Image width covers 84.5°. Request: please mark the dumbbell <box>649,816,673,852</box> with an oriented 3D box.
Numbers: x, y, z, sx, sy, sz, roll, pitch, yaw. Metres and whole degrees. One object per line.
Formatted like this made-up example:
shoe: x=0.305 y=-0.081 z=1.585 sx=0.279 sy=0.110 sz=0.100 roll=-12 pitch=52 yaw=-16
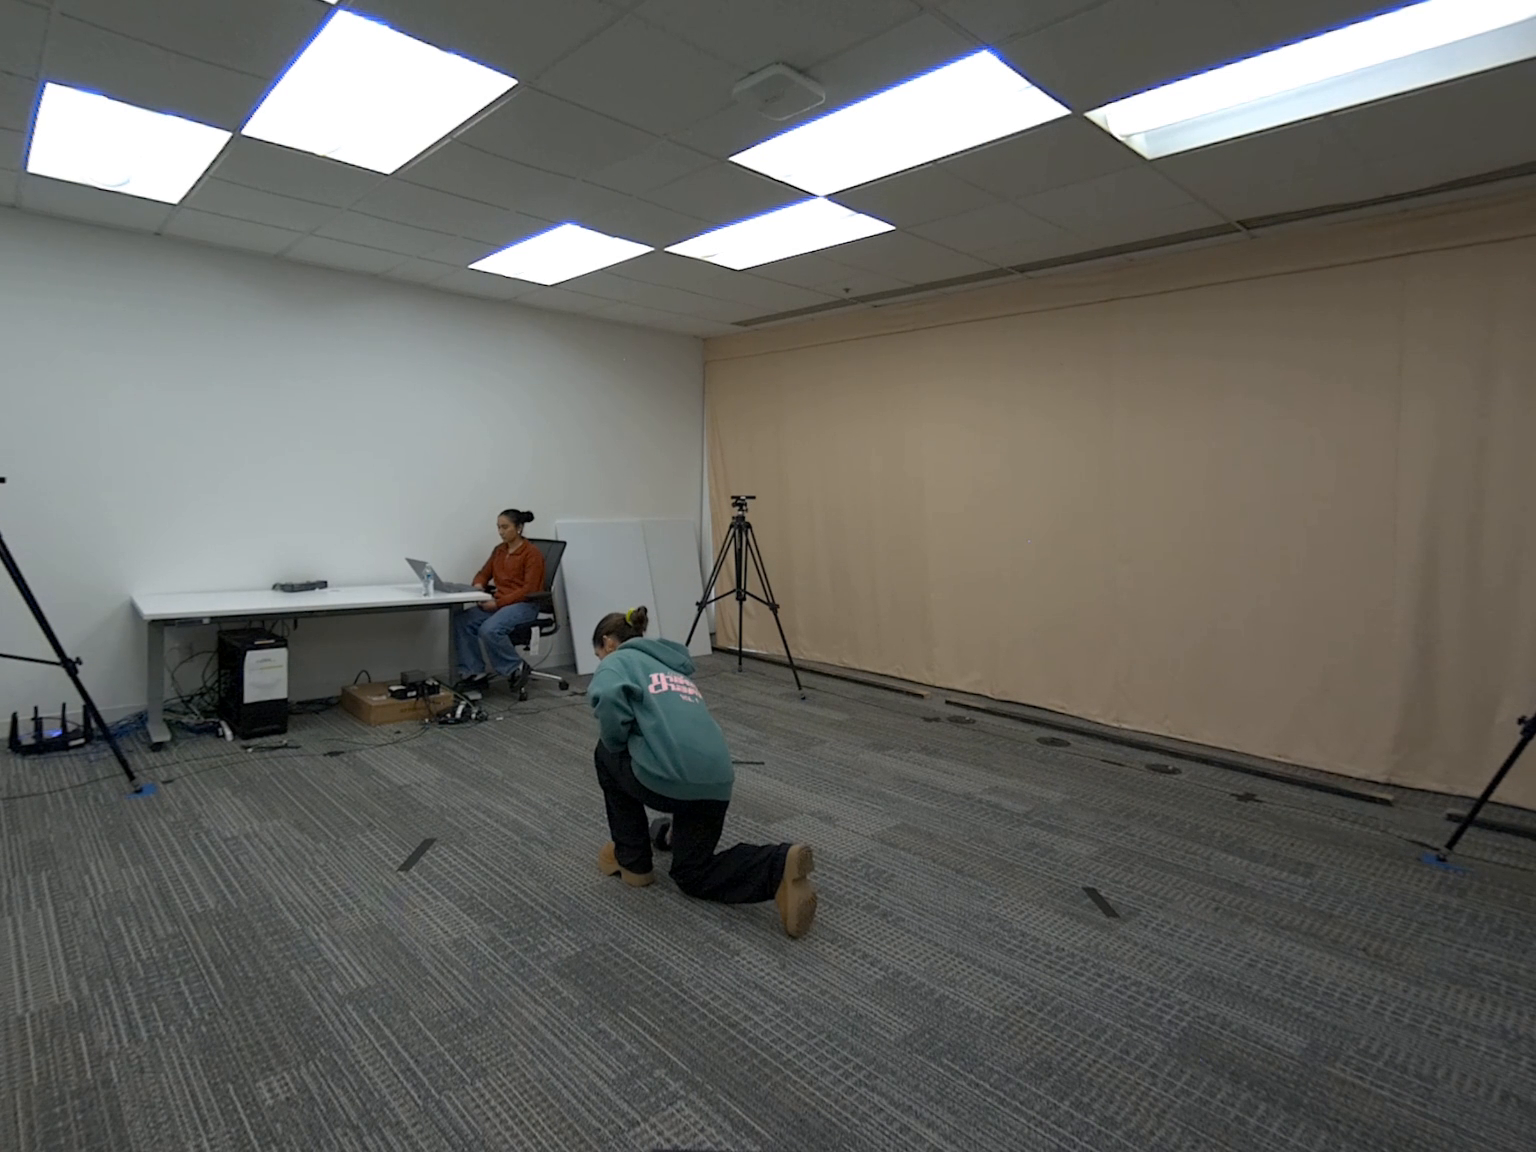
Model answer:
dumbbell: x=-0.348 y=1.031 z=3.252 sx=0.105 sy=0.123 sz=0.301 roll=37 pitch=-18 yaw=-36
